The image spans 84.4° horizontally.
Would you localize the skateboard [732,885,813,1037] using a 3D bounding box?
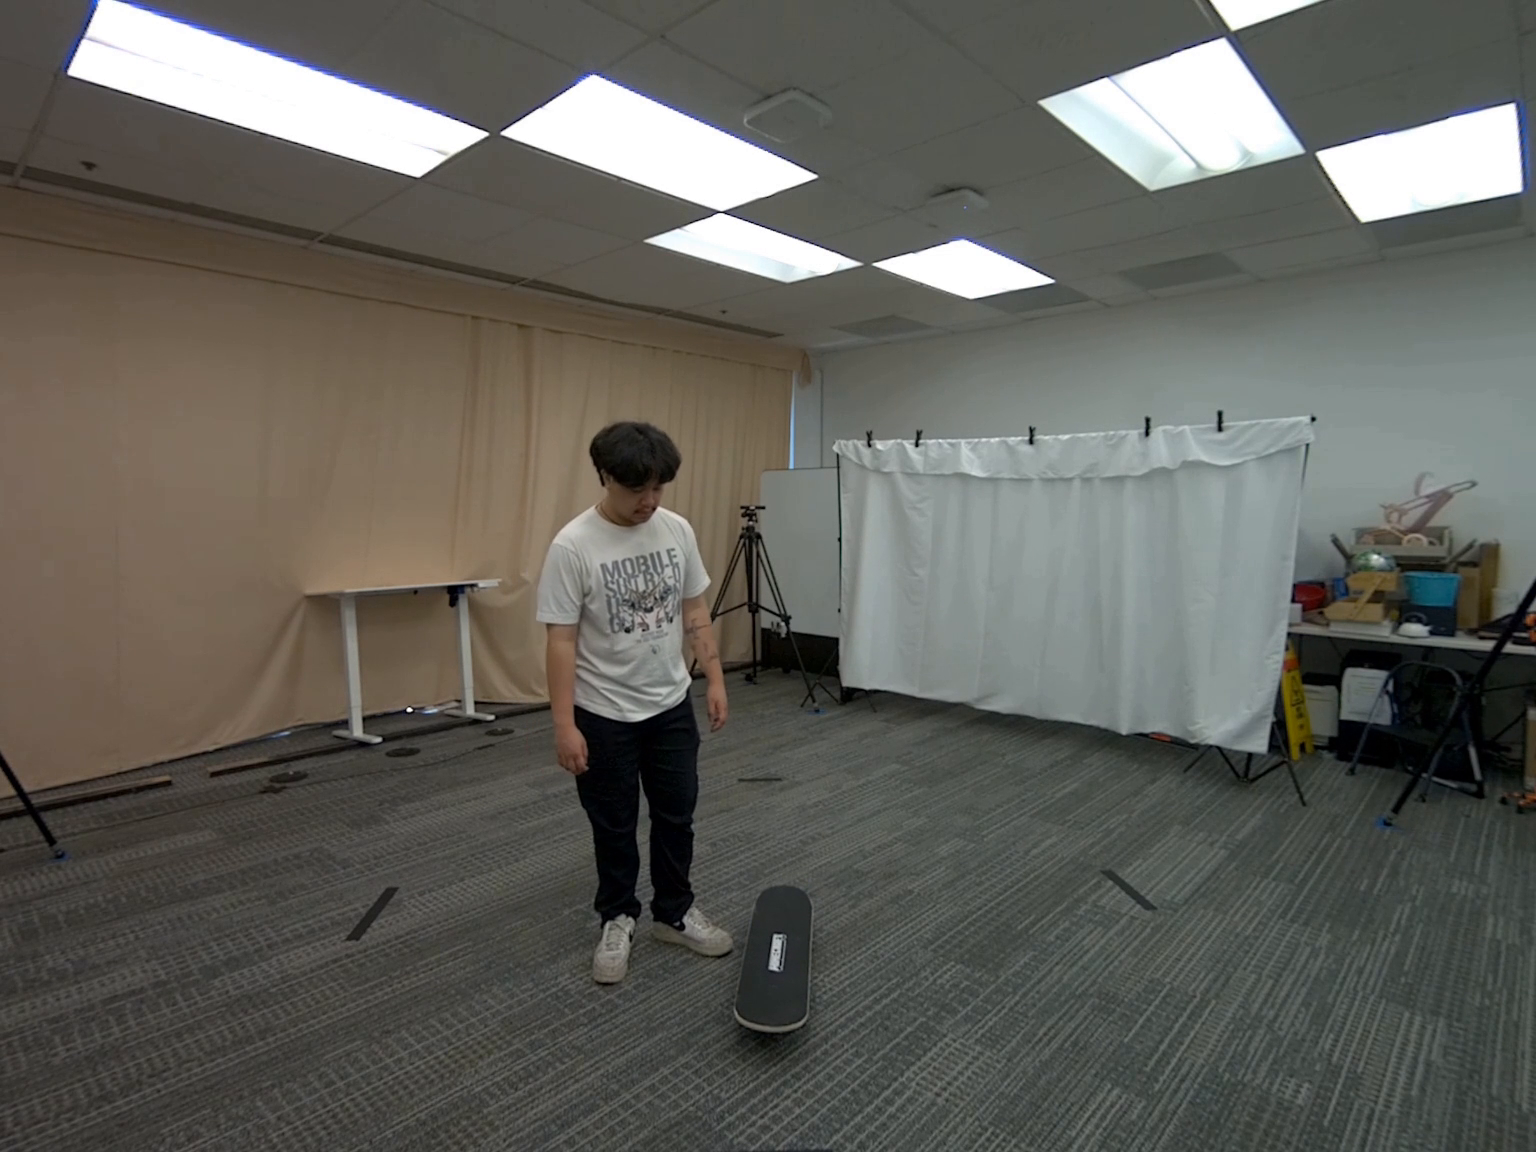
[{"bbox_3d":[0.033,1.130,2.465,0.195,0.110,0.781,1,5,5],"label":"skateboard"}]
